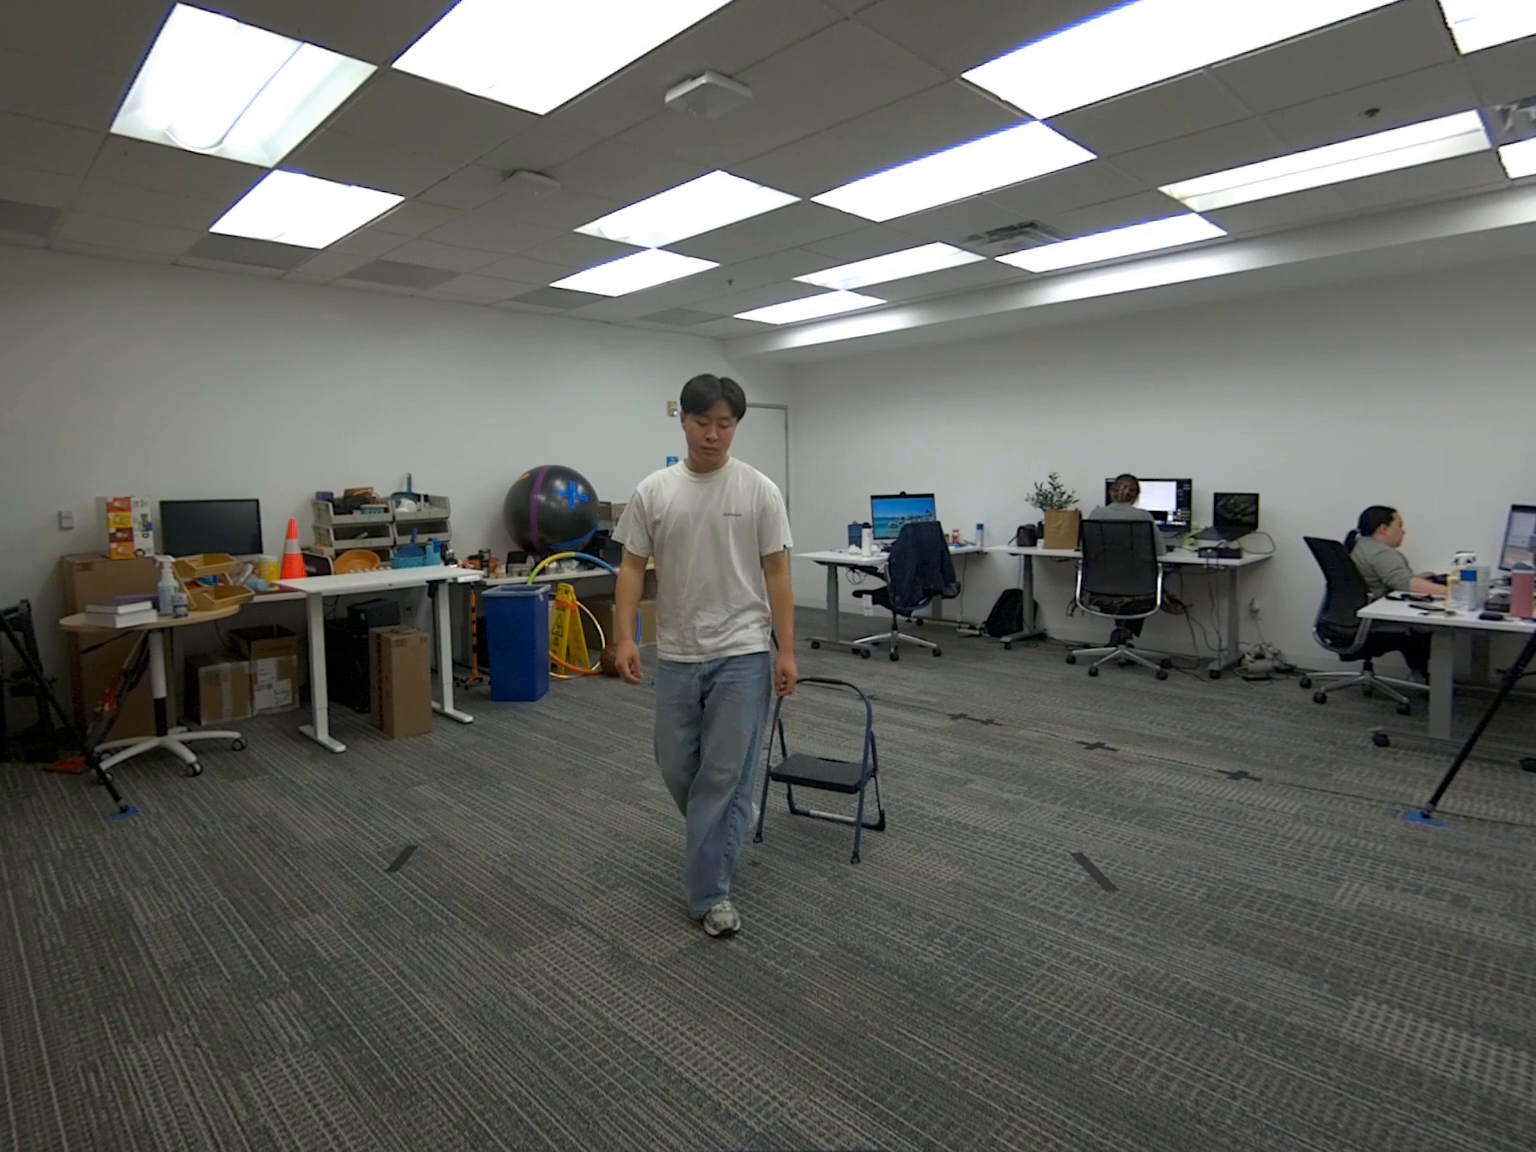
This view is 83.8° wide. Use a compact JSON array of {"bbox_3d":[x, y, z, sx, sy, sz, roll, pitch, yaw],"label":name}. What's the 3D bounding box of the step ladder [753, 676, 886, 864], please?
[{"bbox_3d":[0.208,0.714,3.321,0.441,0.604,0.342,2,5,28],"label":"step ladder"}]
